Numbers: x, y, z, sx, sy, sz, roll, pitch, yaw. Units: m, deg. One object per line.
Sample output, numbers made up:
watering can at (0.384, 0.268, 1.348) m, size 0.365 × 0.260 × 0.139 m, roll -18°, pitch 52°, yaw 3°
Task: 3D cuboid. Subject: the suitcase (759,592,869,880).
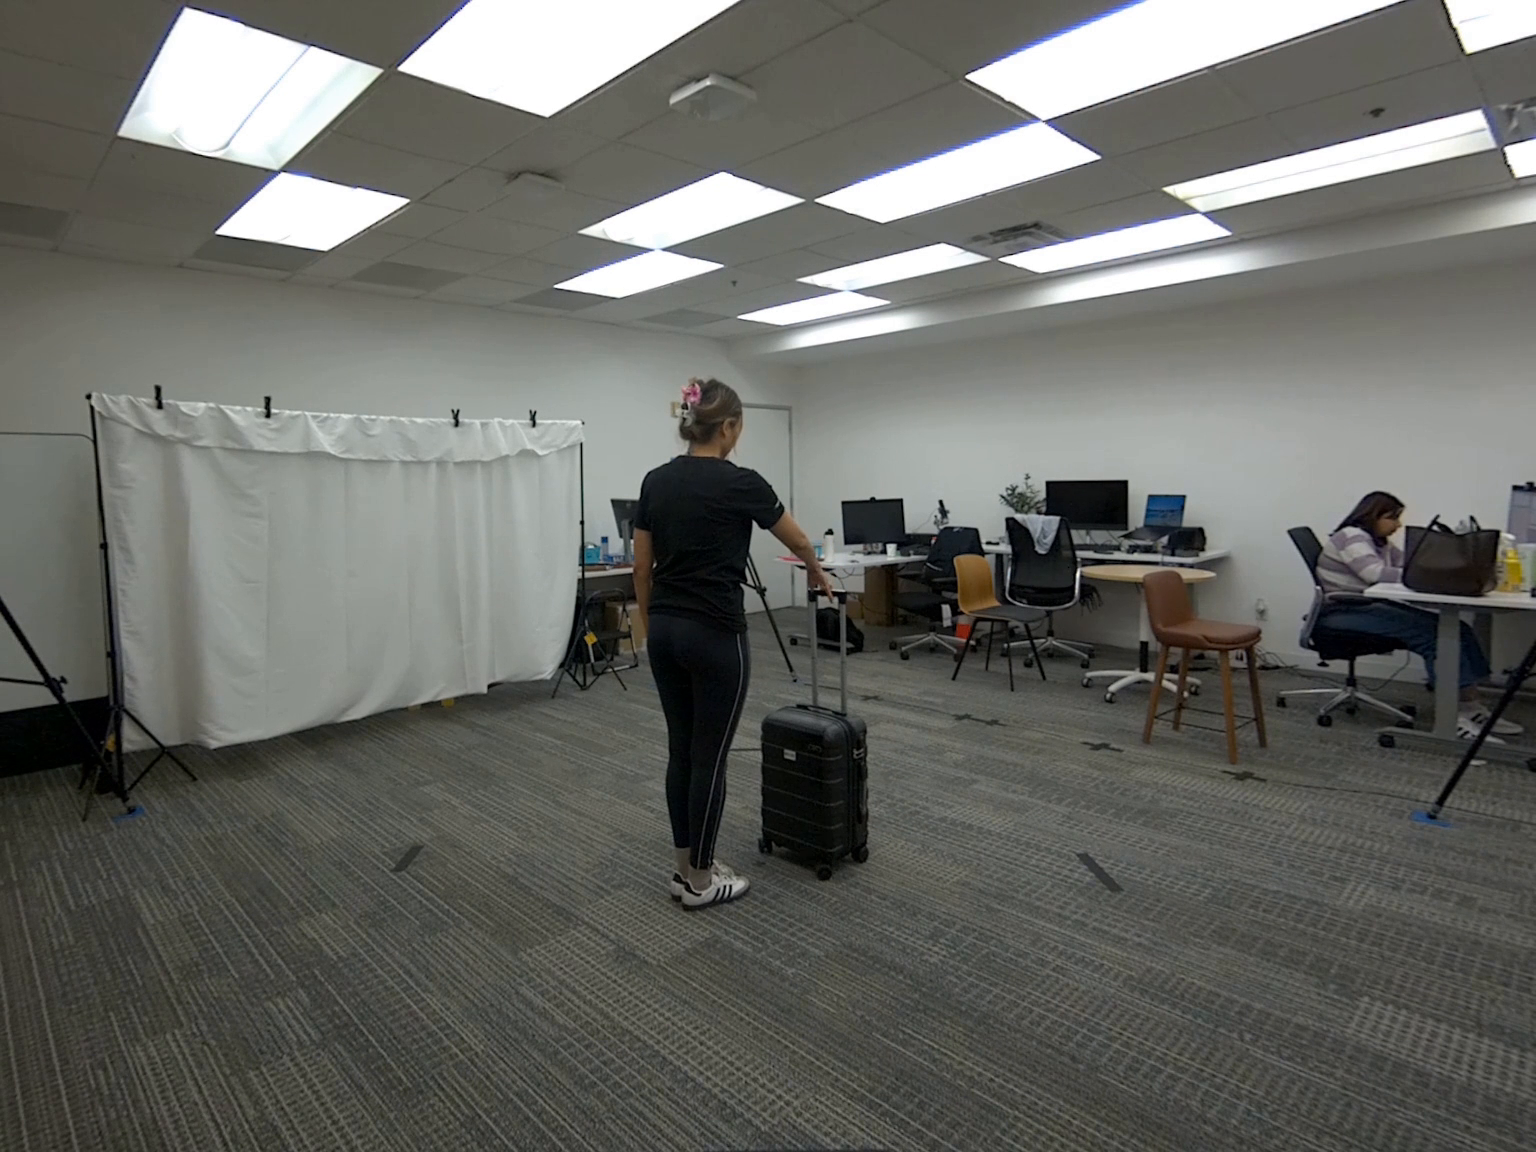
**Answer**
suitcase at (0.169, 0.560, 3.133) m, size 0.396 × 0.975 × 0.250 m, roll 3°, pitch 5°, yaw 43°
